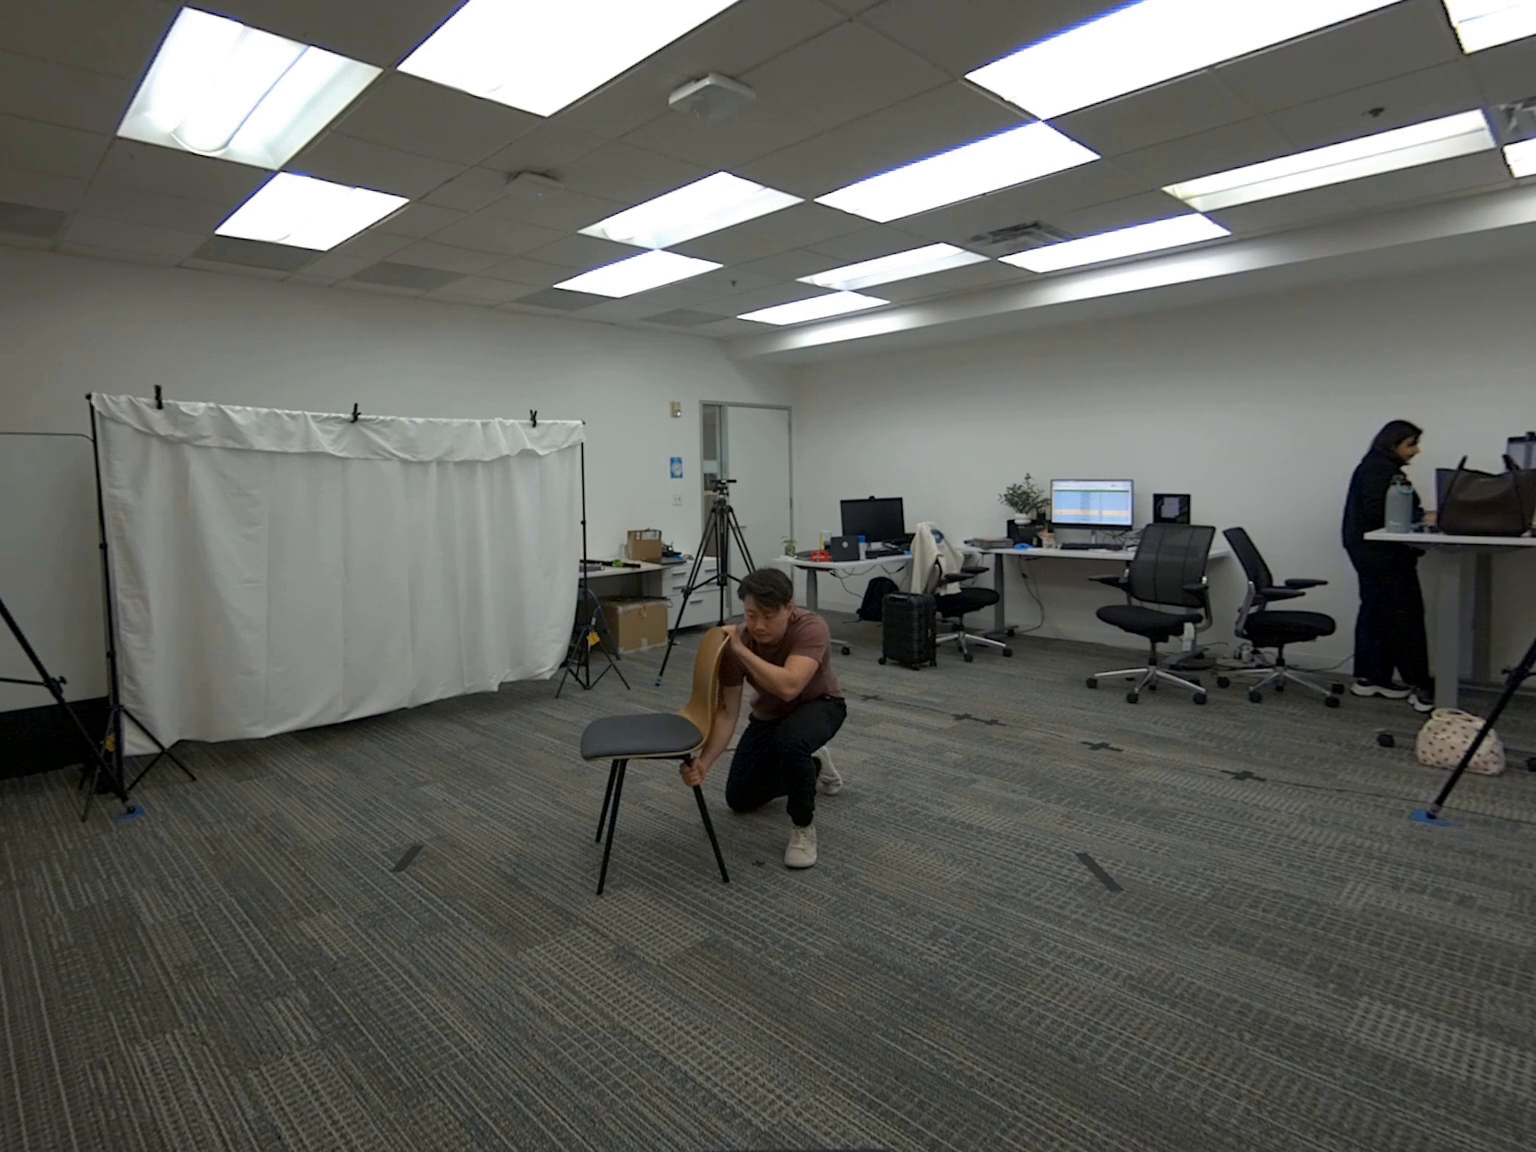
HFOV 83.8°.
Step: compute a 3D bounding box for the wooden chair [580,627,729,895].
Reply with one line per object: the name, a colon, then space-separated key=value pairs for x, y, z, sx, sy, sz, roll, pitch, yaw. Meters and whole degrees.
wooden chair: x=-0.418 y=0.627 z=3.106 sx=0.518 sy=0.874 sz=0.485 roll=2 pitch=5 yaw=-11
